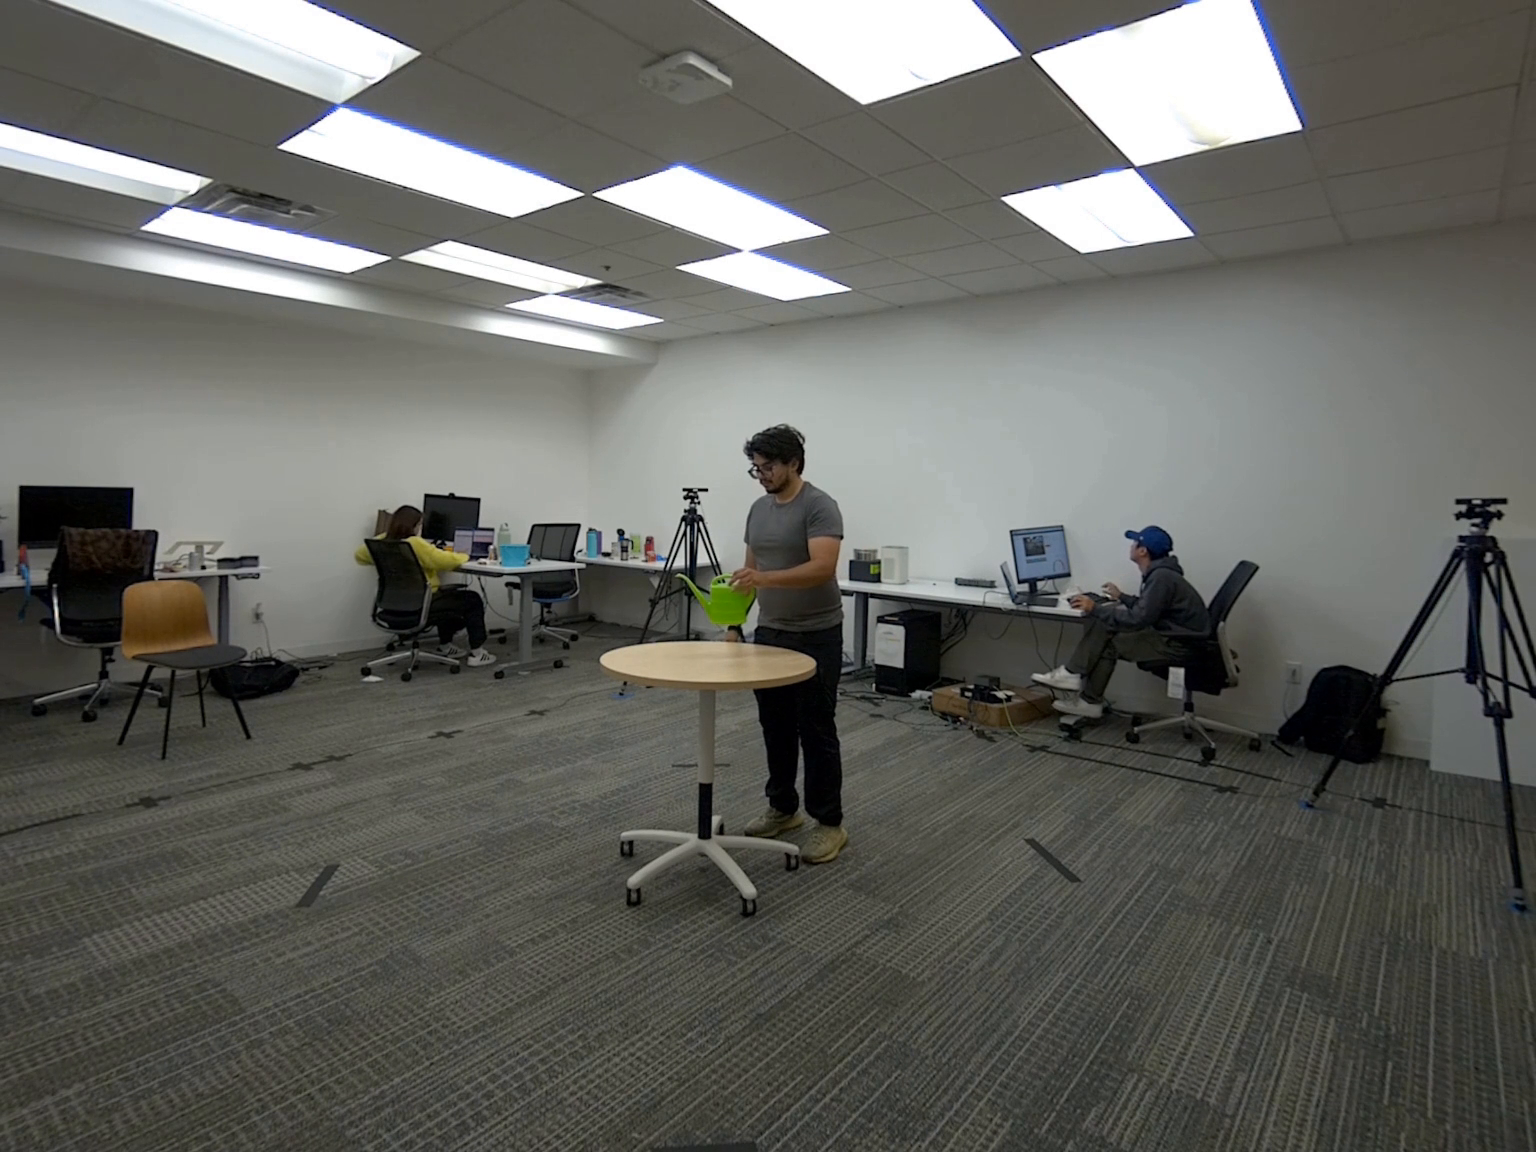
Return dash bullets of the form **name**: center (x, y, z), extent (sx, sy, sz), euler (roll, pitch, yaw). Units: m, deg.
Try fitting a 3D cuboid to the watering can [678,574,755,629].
- **watering can**: center (-0.192, 0.077, 3.051), extent (0.285, 0.176, 0.096), euler (3, 6, 21)
